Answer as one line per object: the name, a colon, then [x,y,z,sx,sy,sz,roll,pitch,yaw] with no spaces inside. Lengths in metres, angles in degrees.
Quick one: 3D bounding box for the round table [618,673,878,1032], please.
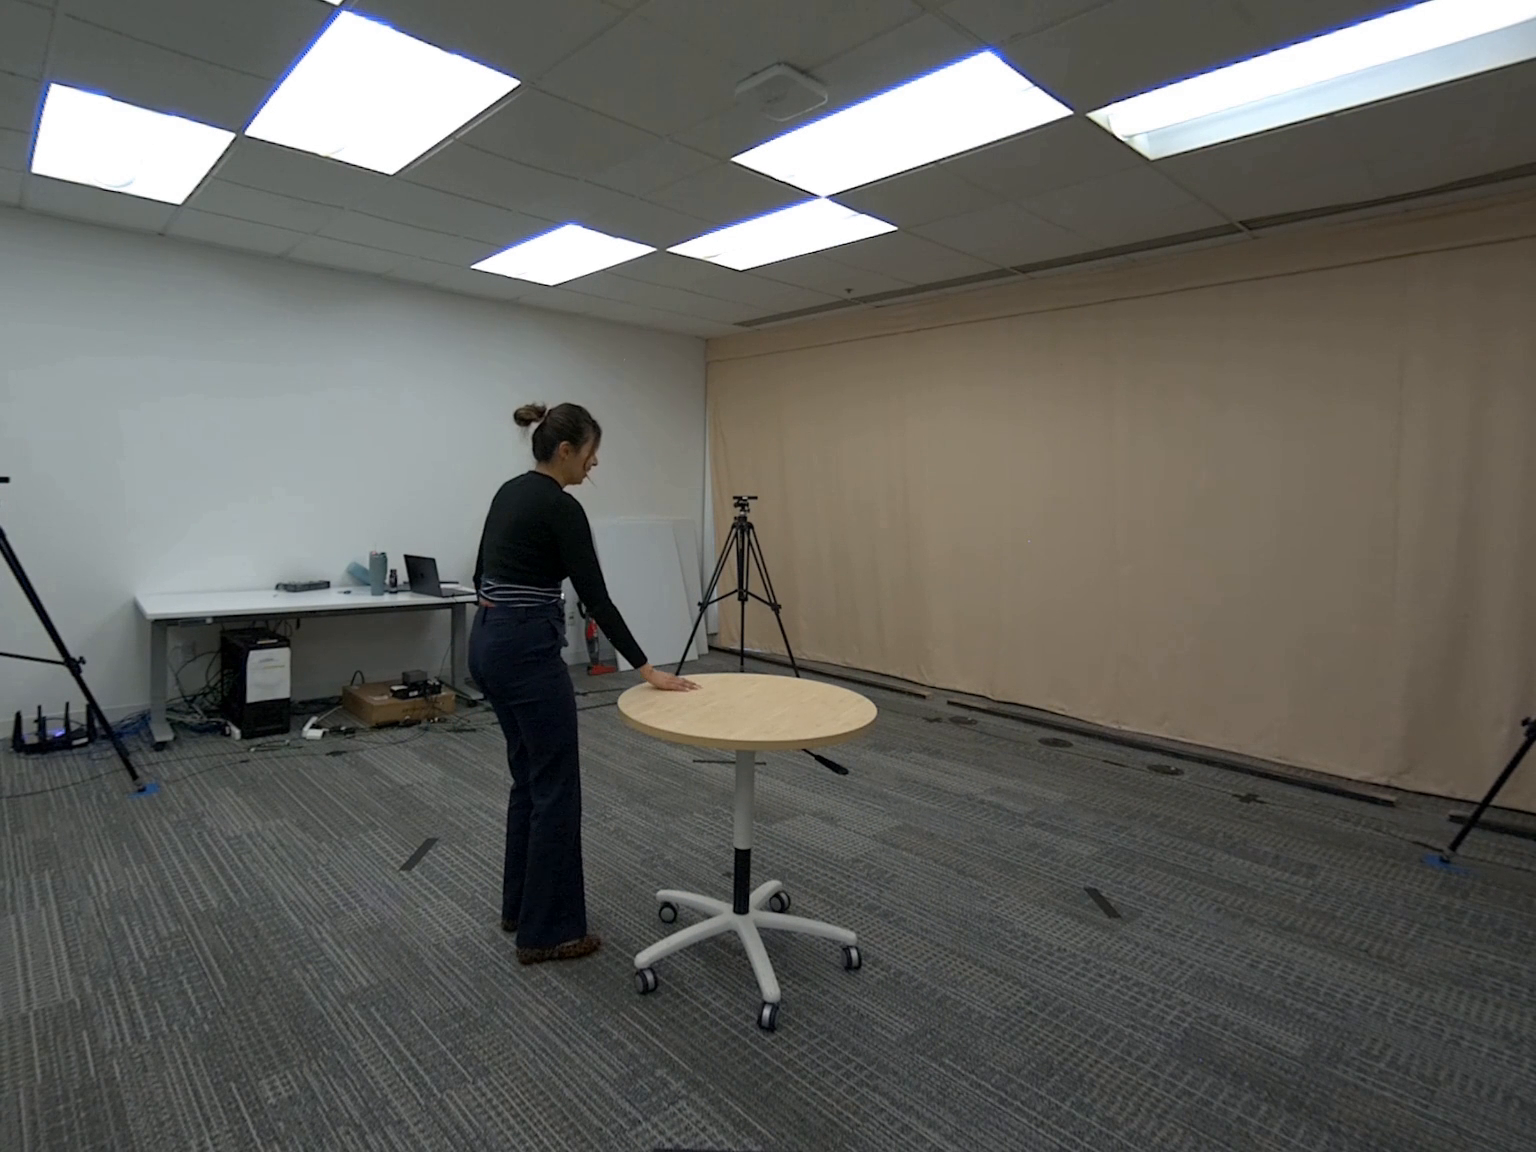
round table: [-0.082,0.770,2.524,0.763,0.791,0.767,1,5,-1]
